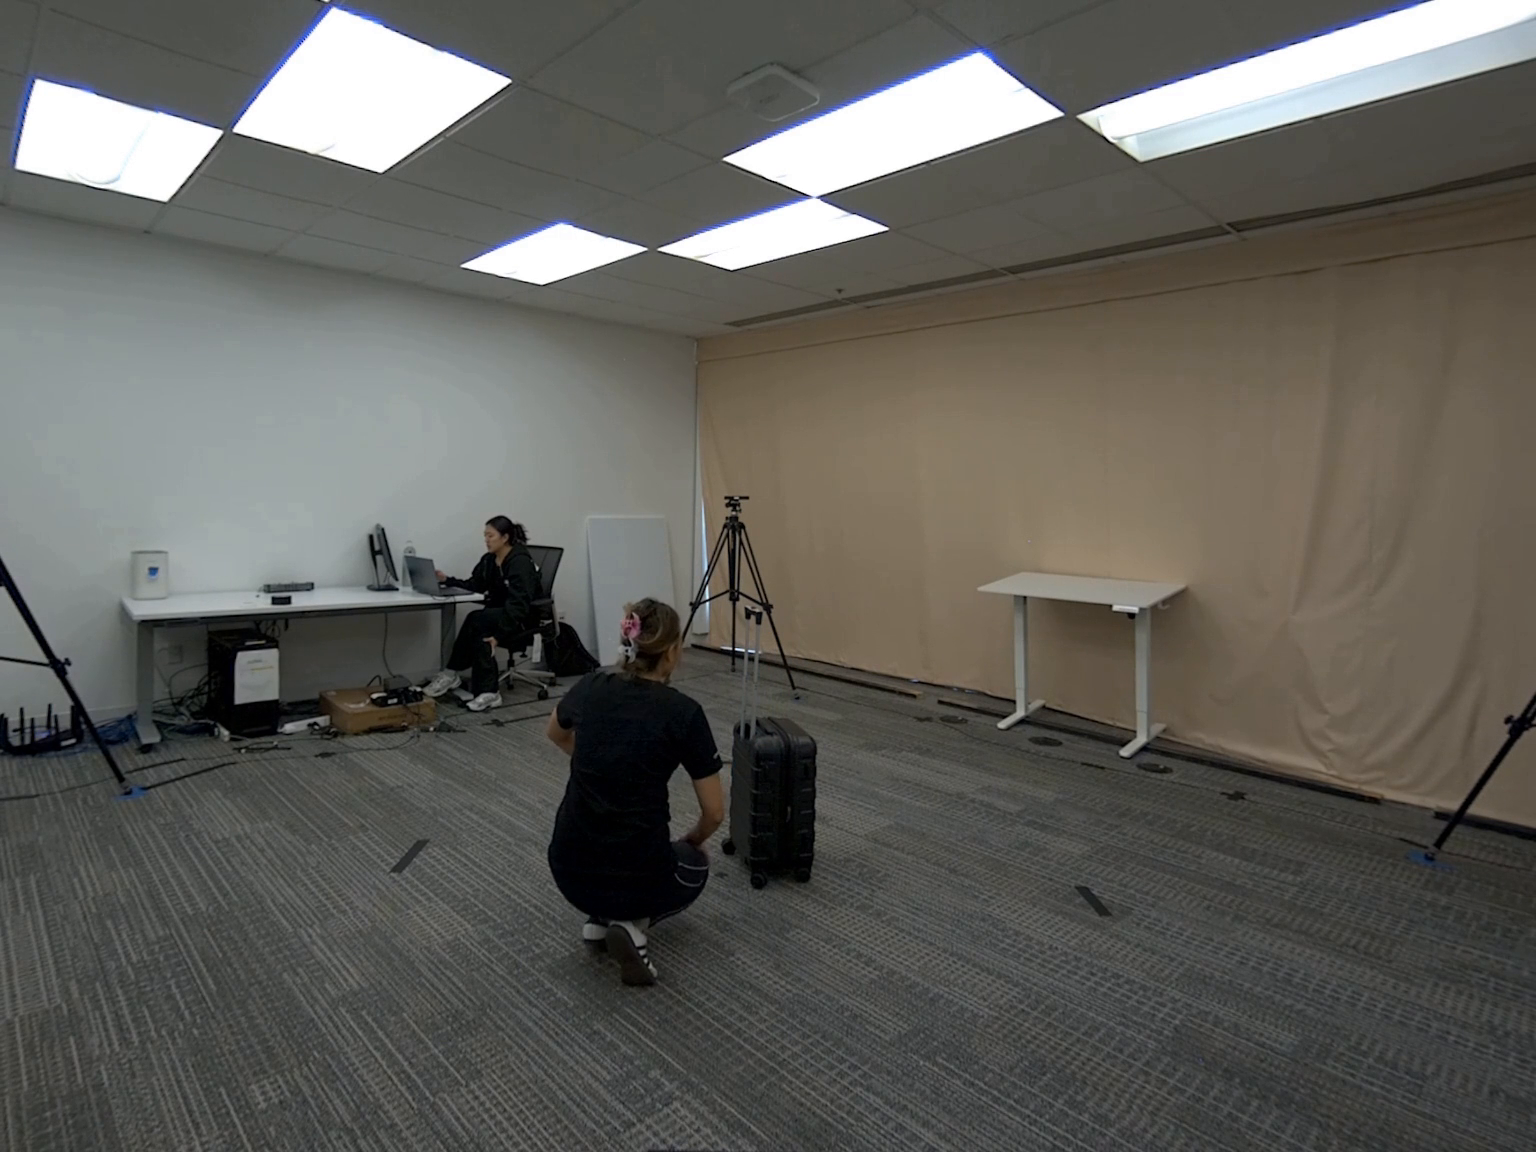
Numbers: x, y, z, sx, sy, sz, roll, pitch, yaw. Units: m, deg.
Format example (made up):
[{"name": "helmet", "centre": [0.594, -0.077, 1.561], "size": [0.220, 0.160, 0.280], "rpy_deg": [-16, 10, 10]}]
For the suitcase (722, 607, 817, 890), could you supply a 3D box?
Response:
[{"name": "suitcase", "centre": [0.020, 0.623, 3.168], "size": [0.254, 0.977, 0.389], "rpy_deg": [3, 3, -14]}]
